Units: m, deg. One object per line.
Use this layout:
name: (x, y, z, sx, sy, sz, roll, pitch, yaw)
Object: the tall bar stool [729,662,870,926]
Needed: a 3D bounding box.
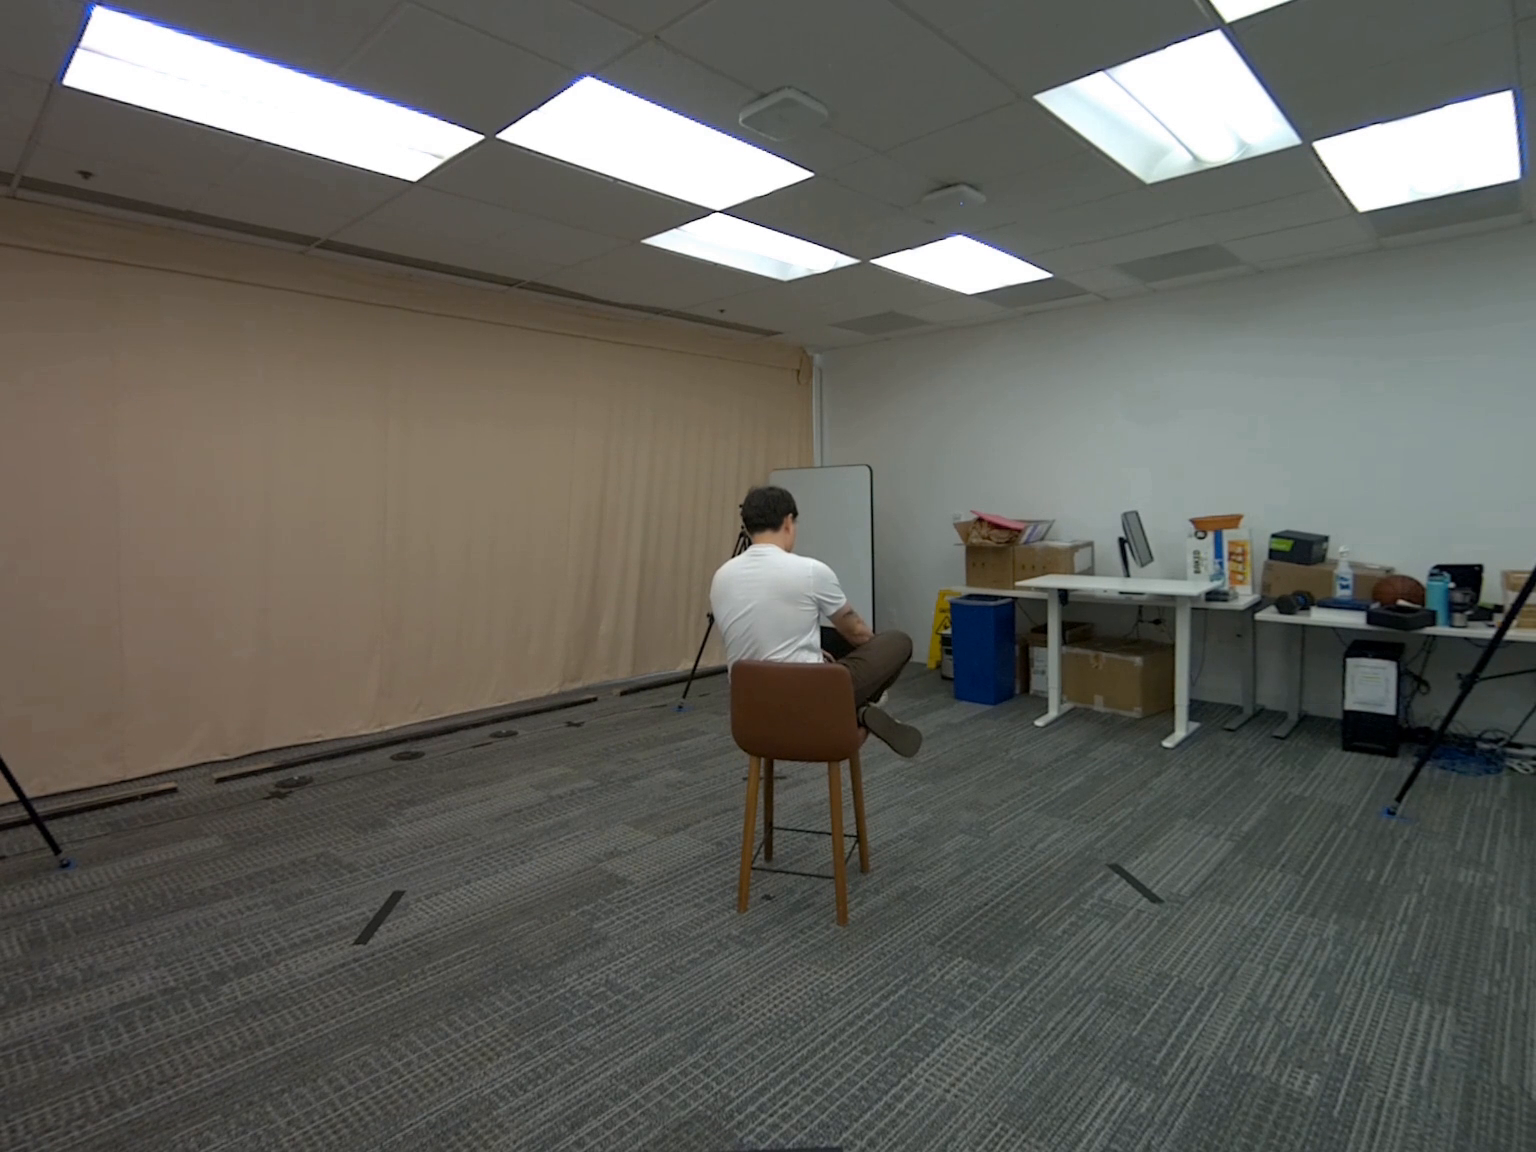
tall bar stool: (0.125, 0.707, 3.005, 0.466, 0.886, 0.460, 0, 6, 18)
